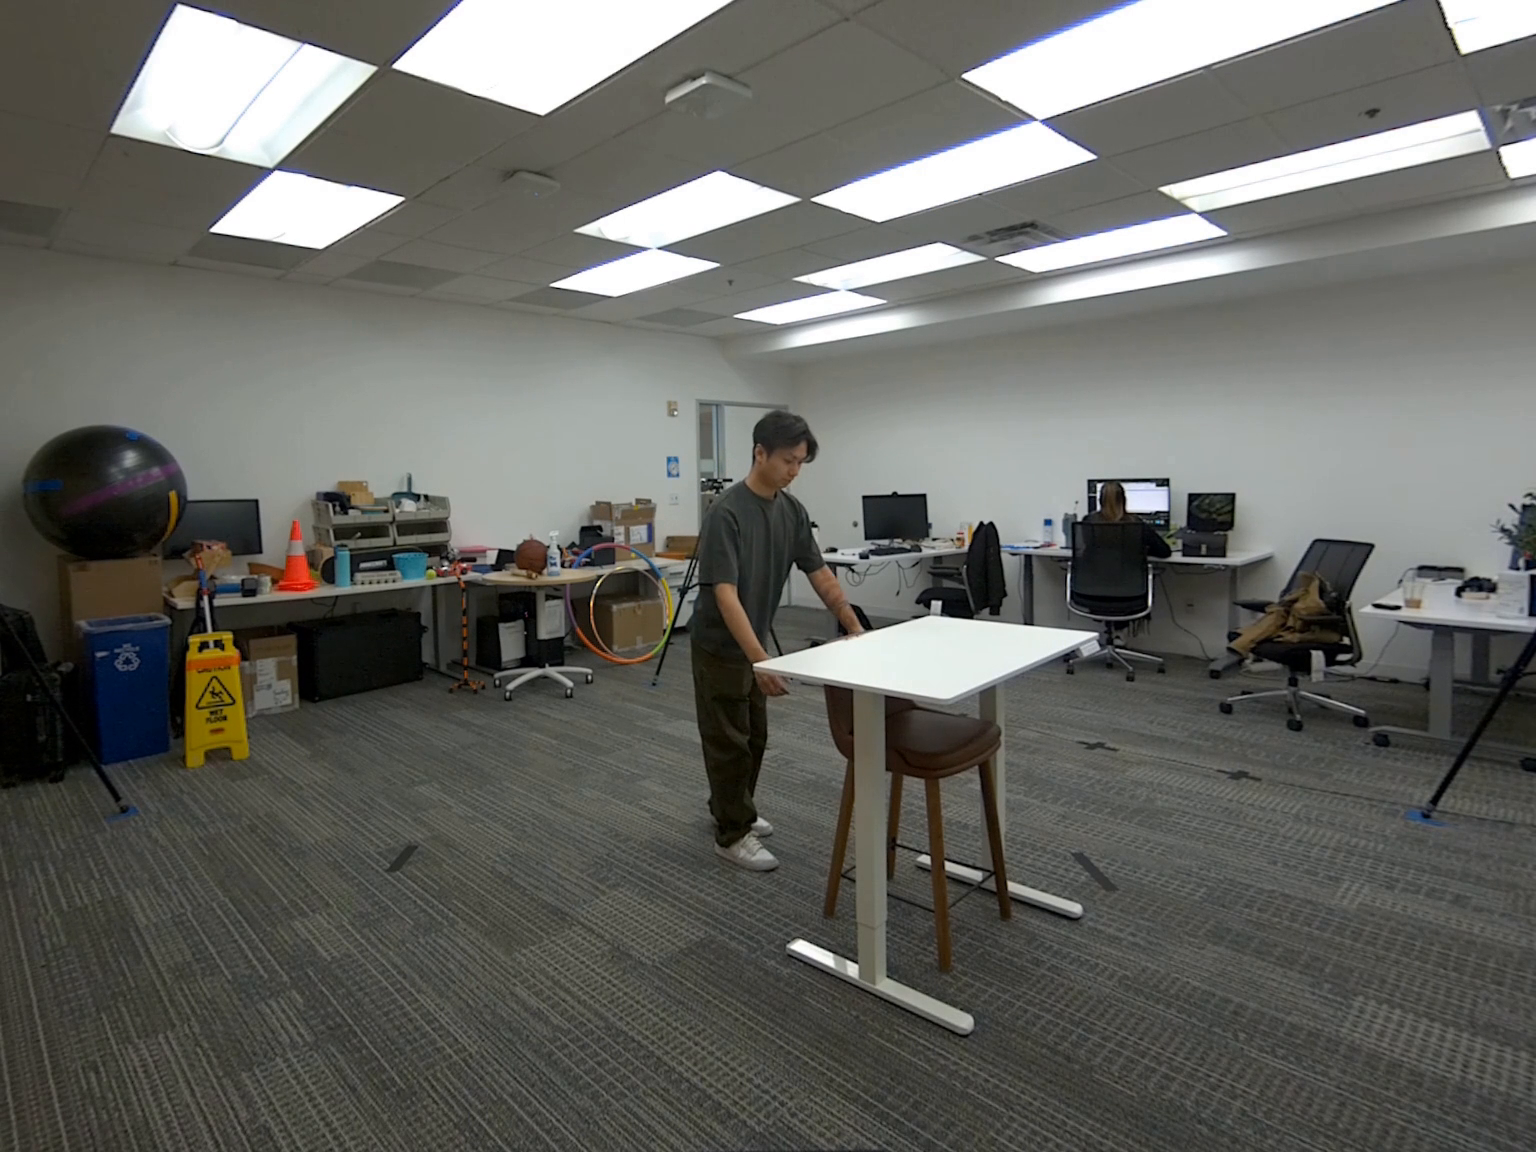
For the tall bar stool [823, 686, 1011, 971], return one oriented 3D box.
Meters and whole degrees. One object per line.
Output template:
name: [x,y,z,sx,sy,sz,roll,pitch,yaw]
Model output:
tall bar stool: [0.455,0.651,2.681,0.481,0.888,0.444,-1,3,42]
